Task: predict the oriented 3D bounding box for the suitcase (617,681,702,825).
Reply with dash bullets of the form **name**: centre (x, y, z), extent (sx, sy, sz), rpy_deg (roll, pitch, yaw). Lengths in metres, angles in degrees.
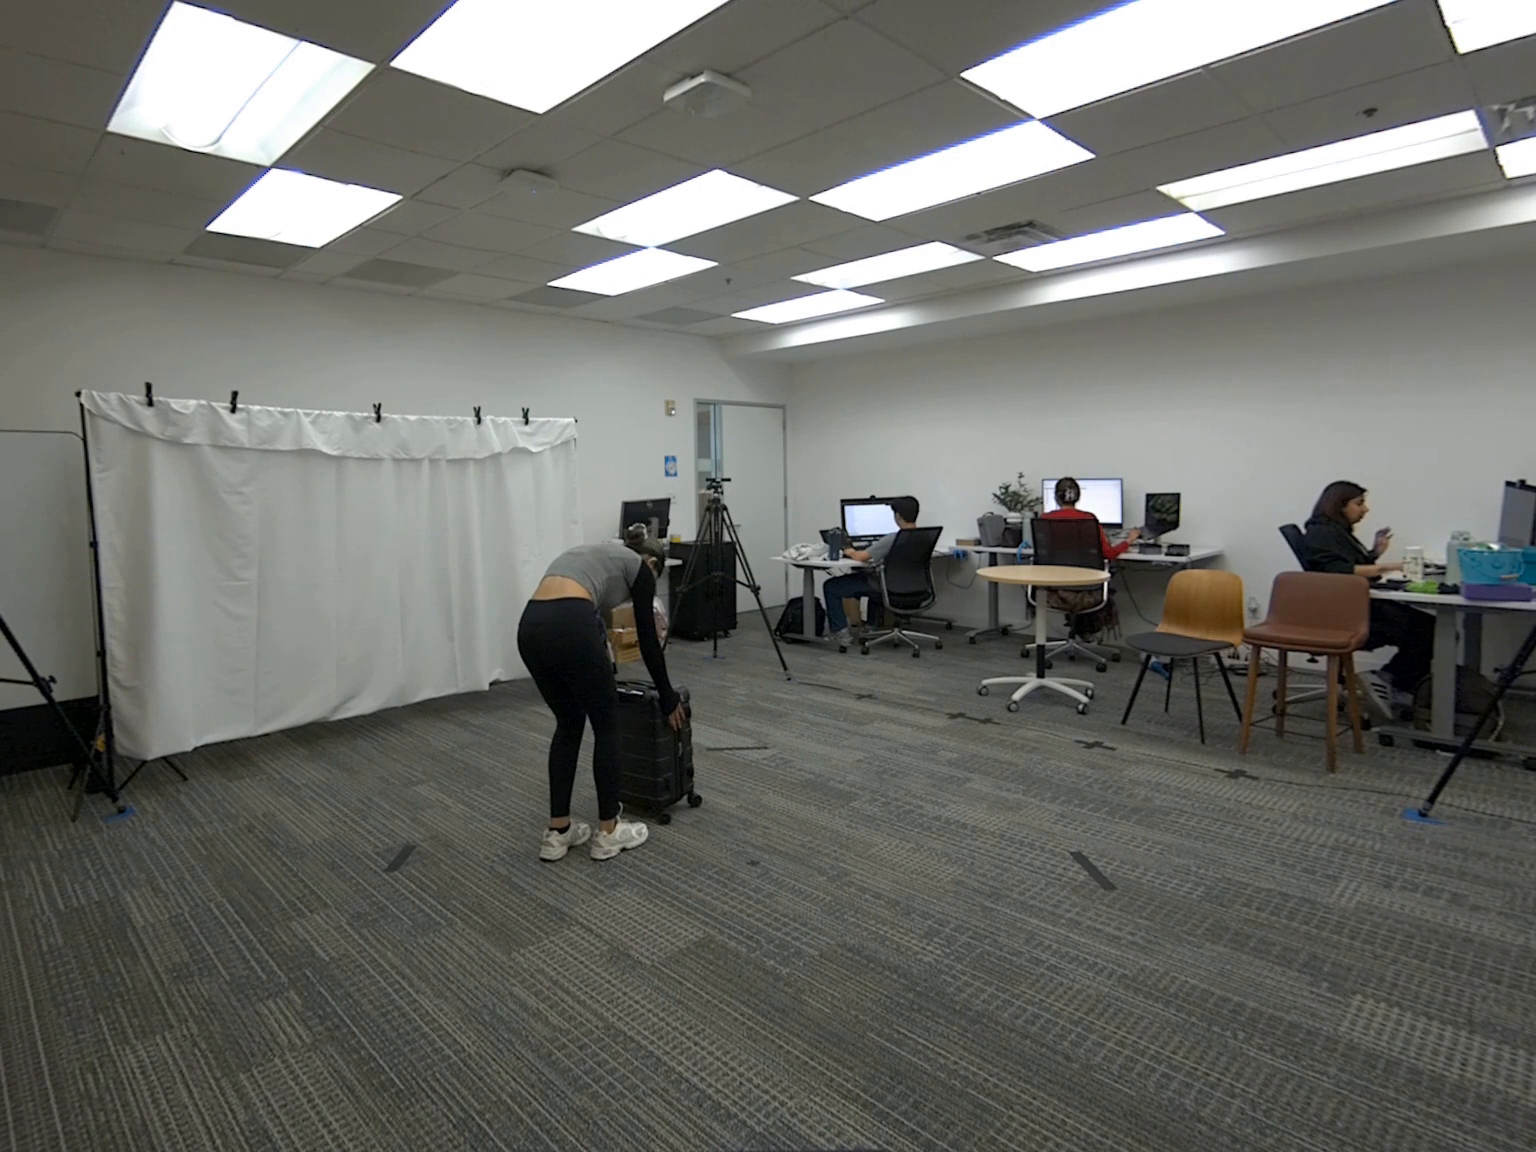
- **suitcase**: centre (-0.512, 0.719, 3.640), extent (0.386, 0.547, 0.242), rpy_deg (1, 5, 34)
